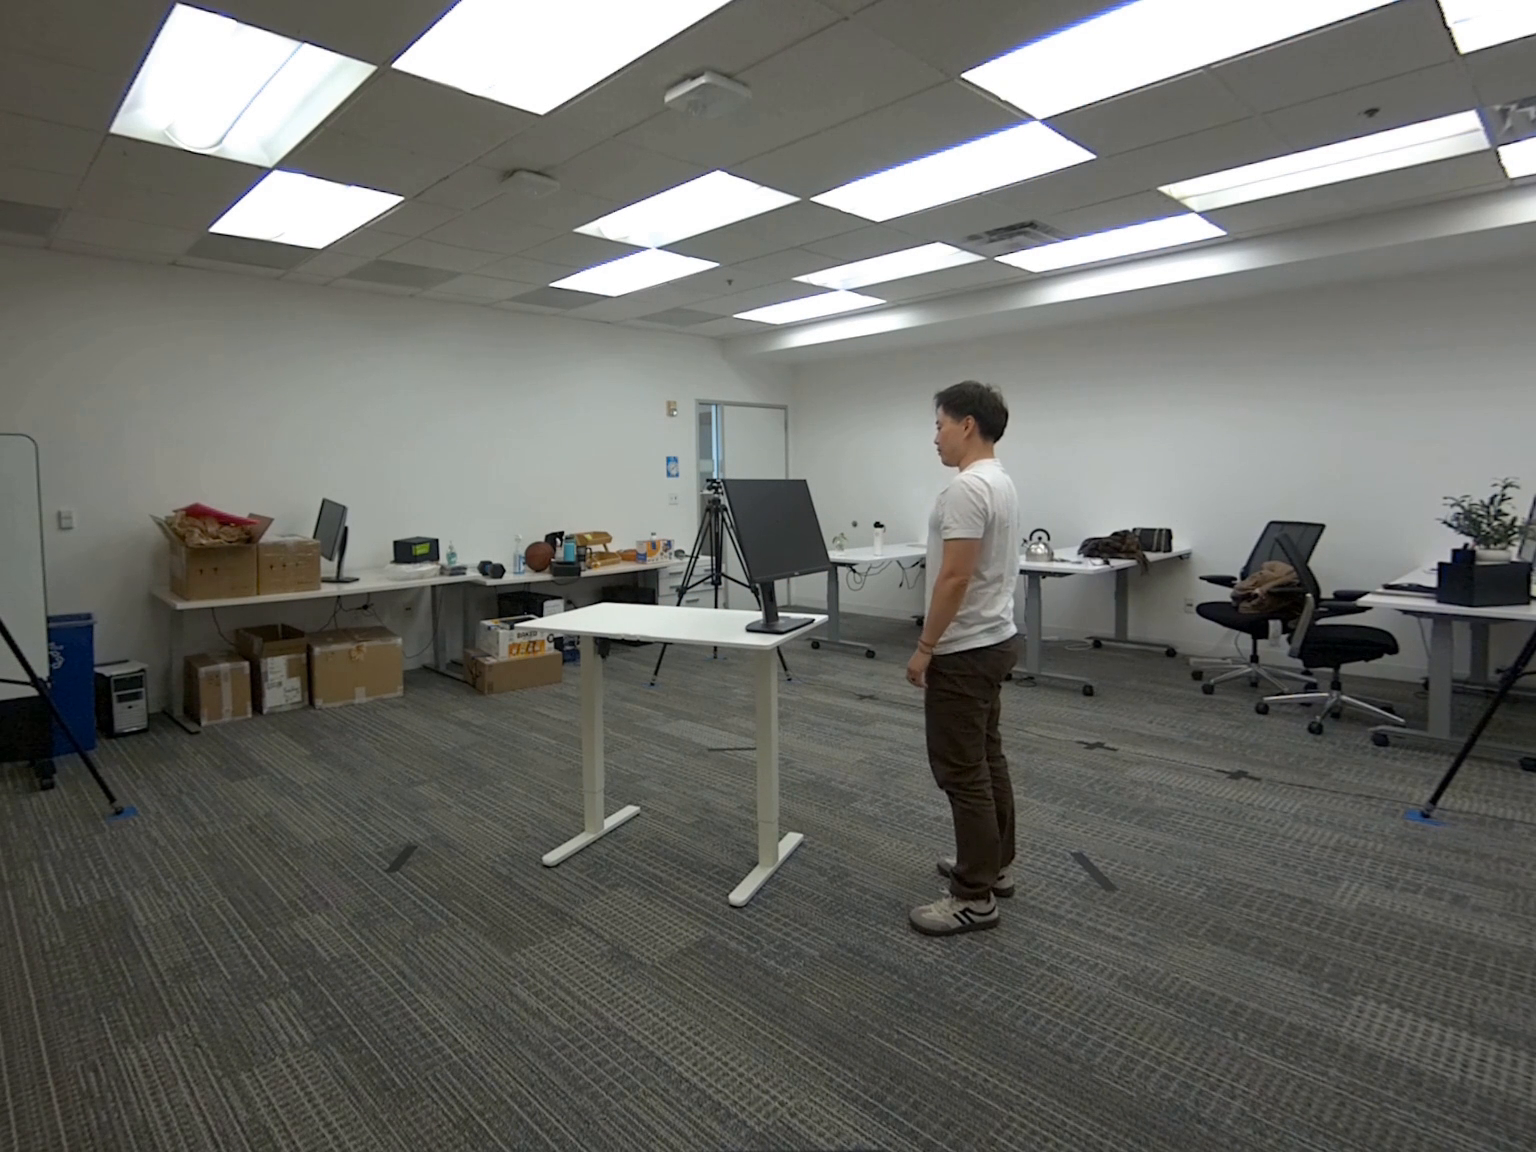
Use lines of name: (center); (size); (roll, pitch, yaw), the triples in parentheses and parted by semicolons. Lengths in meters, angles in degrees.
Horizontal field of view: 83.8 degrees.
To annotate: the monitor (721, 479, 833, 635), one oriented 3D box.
monitor: (0.030, -0.078, 2.975); (0.192, 0.522, 0.527); (-4, 2, 31)
